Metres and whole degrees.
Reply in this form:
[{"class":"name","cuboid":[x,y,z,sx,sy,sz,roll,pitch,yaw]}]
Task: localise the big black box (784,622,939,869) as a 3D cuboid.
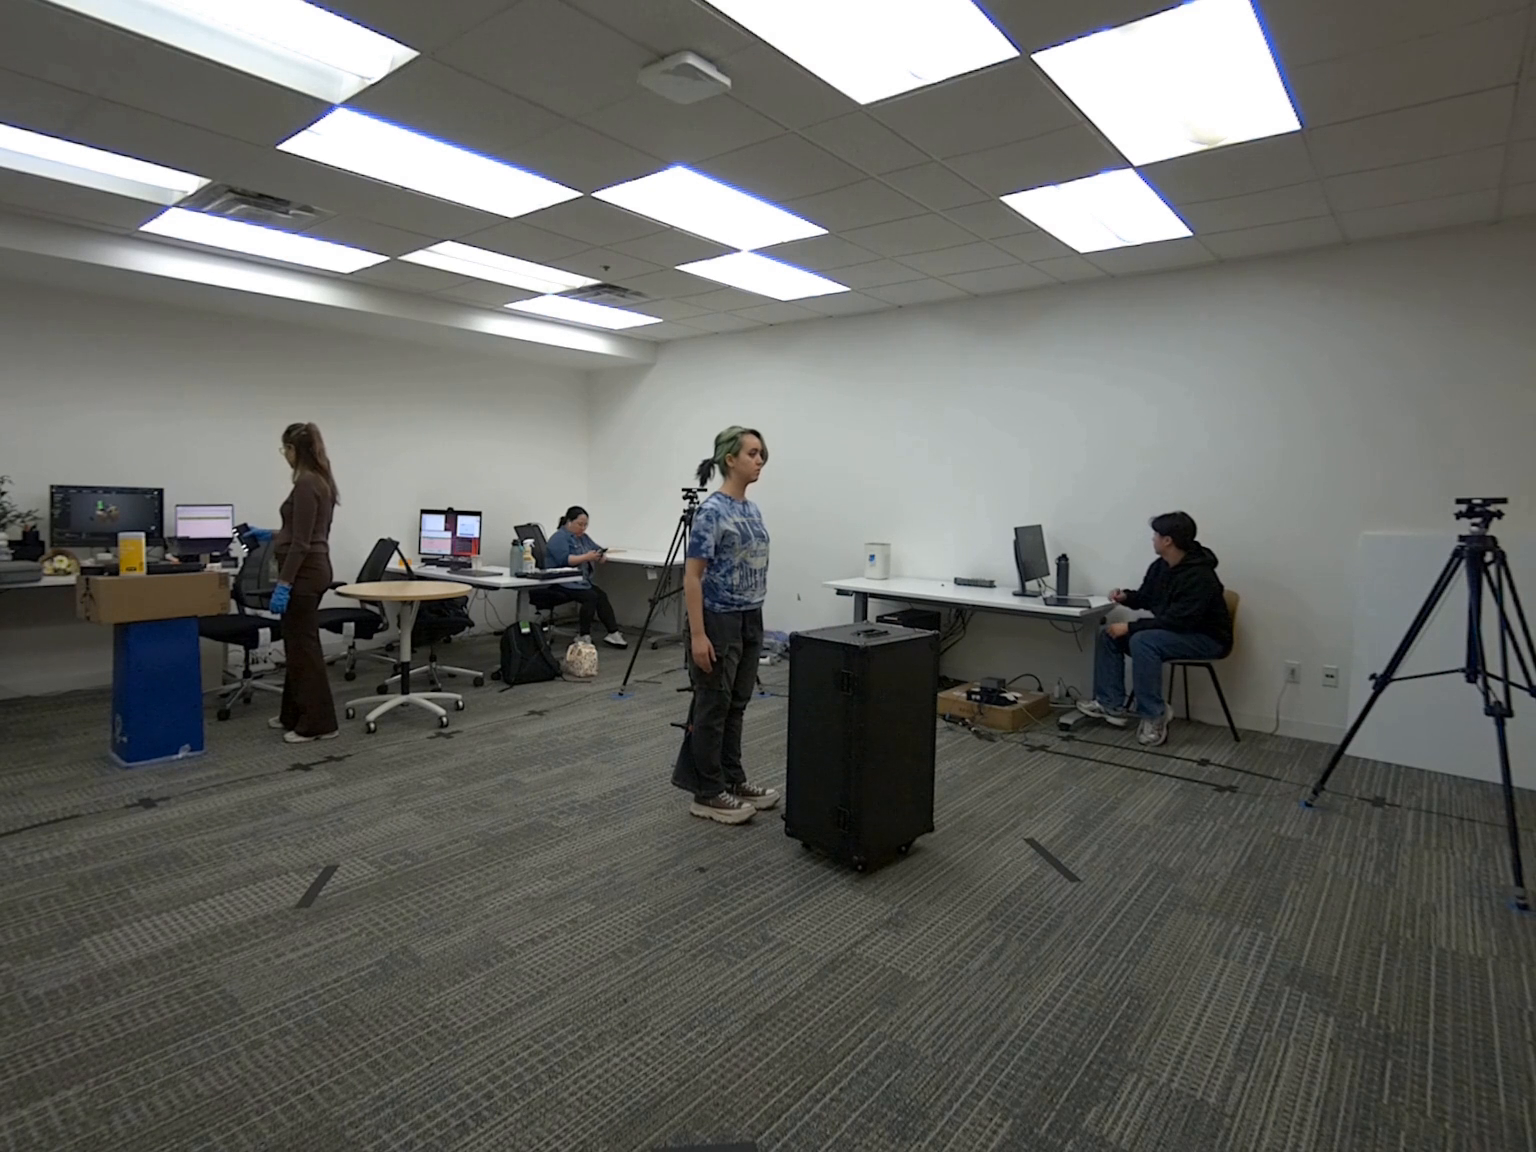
[{"class":"big black box","cuboid":[0.346,0.637,3.285,0.505,0.859,0.410,-2,4,-45]}]
